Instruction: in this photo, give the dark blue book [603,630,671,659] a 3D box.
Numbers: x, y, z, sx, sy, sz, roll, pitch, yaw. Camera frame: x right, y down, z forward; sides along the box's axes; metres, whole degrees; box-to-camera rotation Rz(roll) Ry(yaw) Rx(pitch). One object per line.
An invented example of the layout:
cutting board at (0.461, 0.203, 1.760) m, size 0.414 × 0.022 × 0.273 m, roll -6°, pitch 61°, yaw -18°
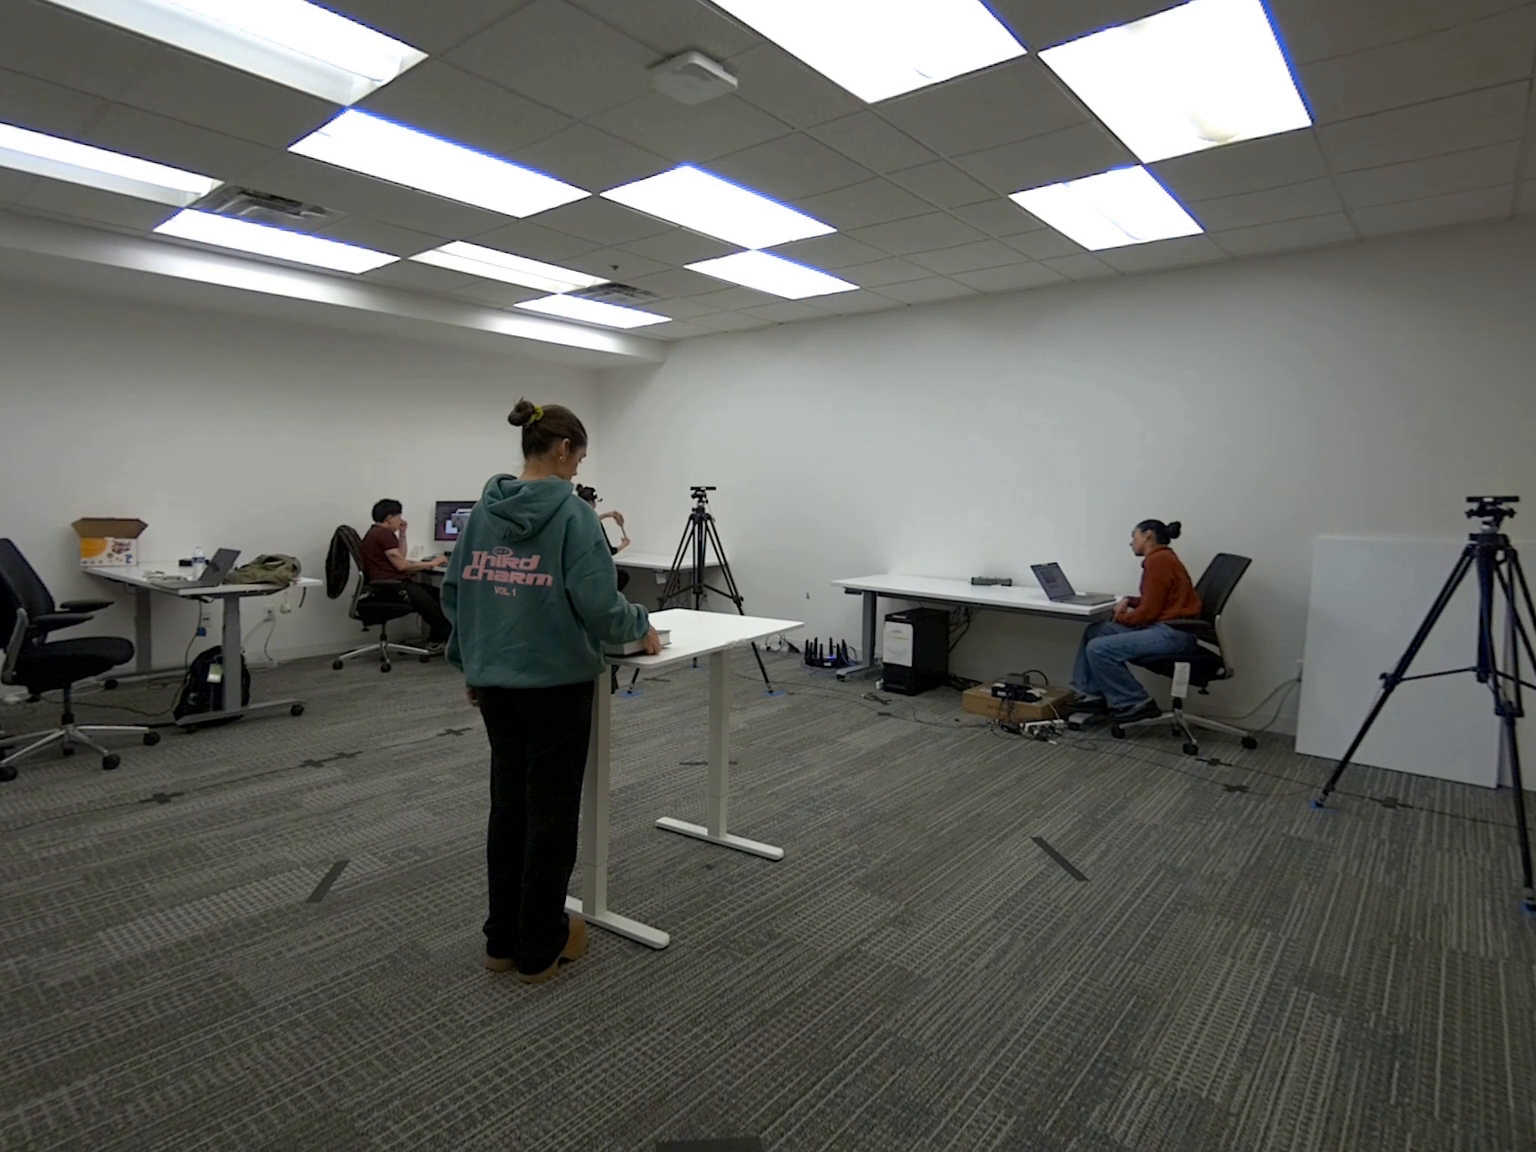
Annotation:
dark blue book at (-0.446, 0.203, 2.619) m, size 0.168 × 0.045 × 0.239 m, roll 0°, pitch 5°, yaw 28°
